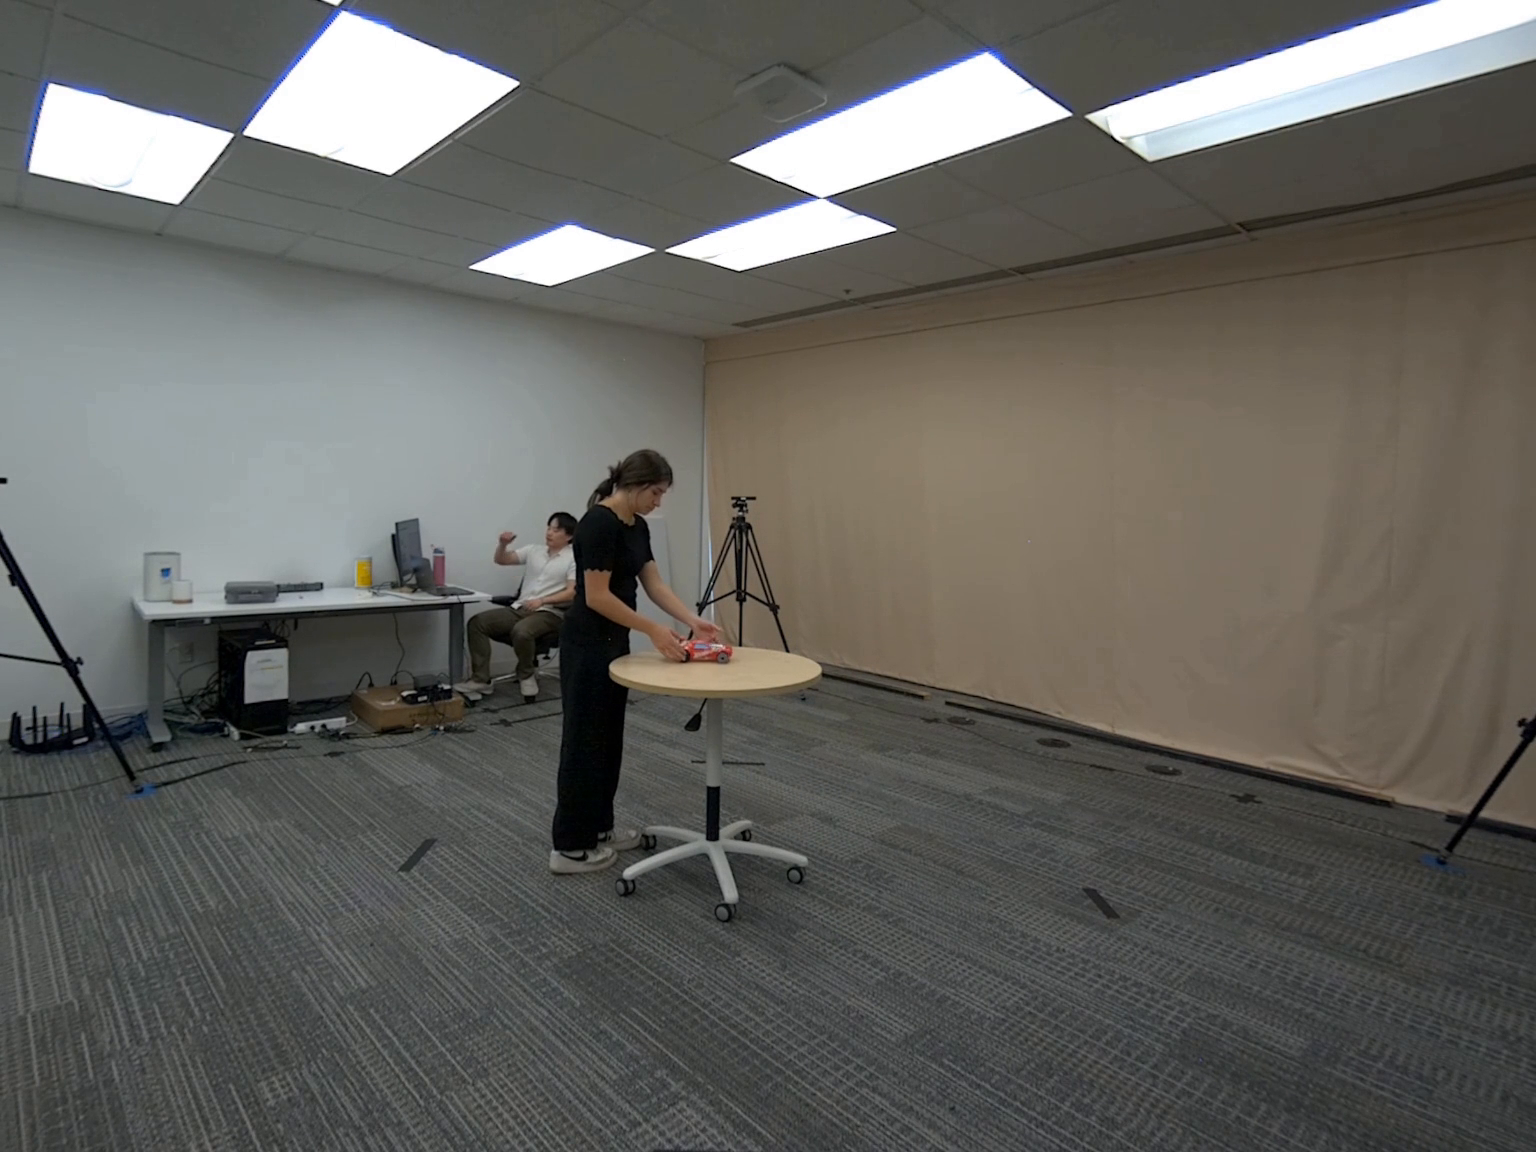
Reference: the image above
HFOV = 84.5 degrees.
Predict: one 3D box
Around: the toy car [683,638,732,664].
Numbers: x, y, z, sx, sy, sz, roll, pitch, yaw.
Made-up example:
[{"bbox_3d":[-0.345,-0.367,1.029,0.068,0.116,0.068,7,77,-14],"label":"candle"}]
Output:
[{"bbox_3d":[-0.270,0.281,3.137,0.255,0.083,0.130,11,4,1],"label":"toy car"}]
